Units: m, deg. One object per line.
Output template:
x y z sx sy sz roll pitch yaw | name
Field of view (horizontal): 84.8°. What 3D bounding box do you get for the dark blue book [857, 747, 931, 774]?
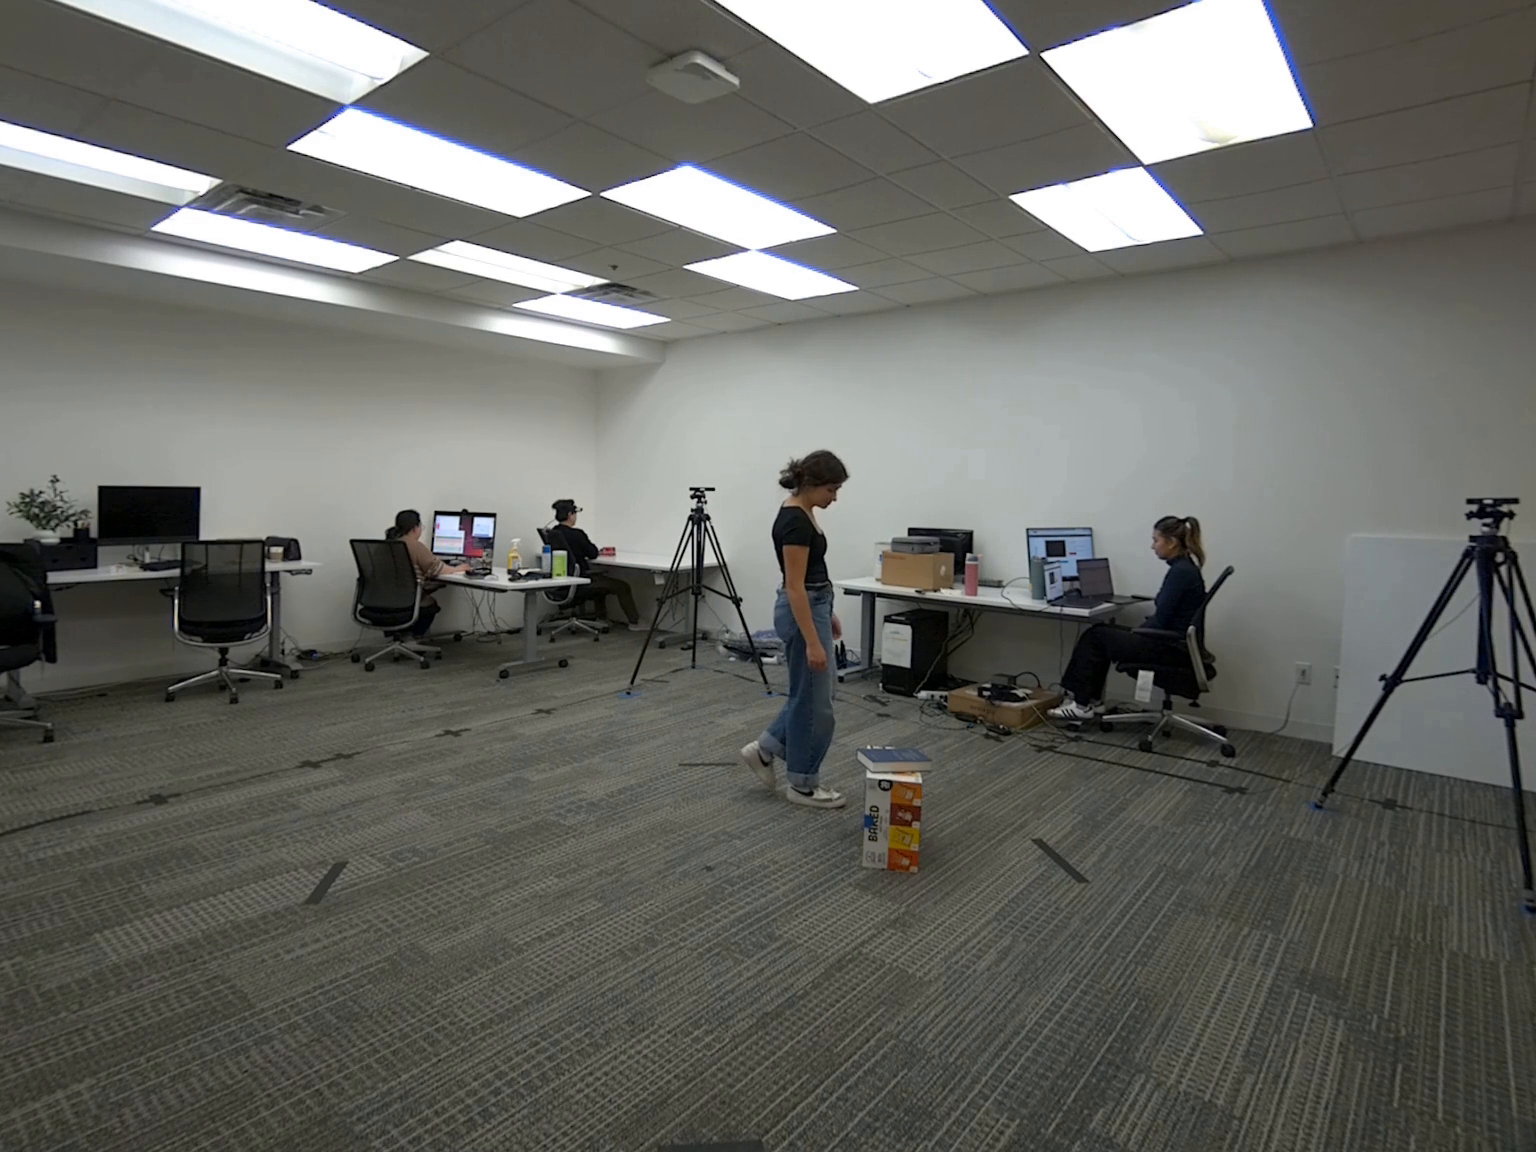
0.488 0.701 3.281 0.242 0.045 0.166 0 6 -14 | dark blue book
